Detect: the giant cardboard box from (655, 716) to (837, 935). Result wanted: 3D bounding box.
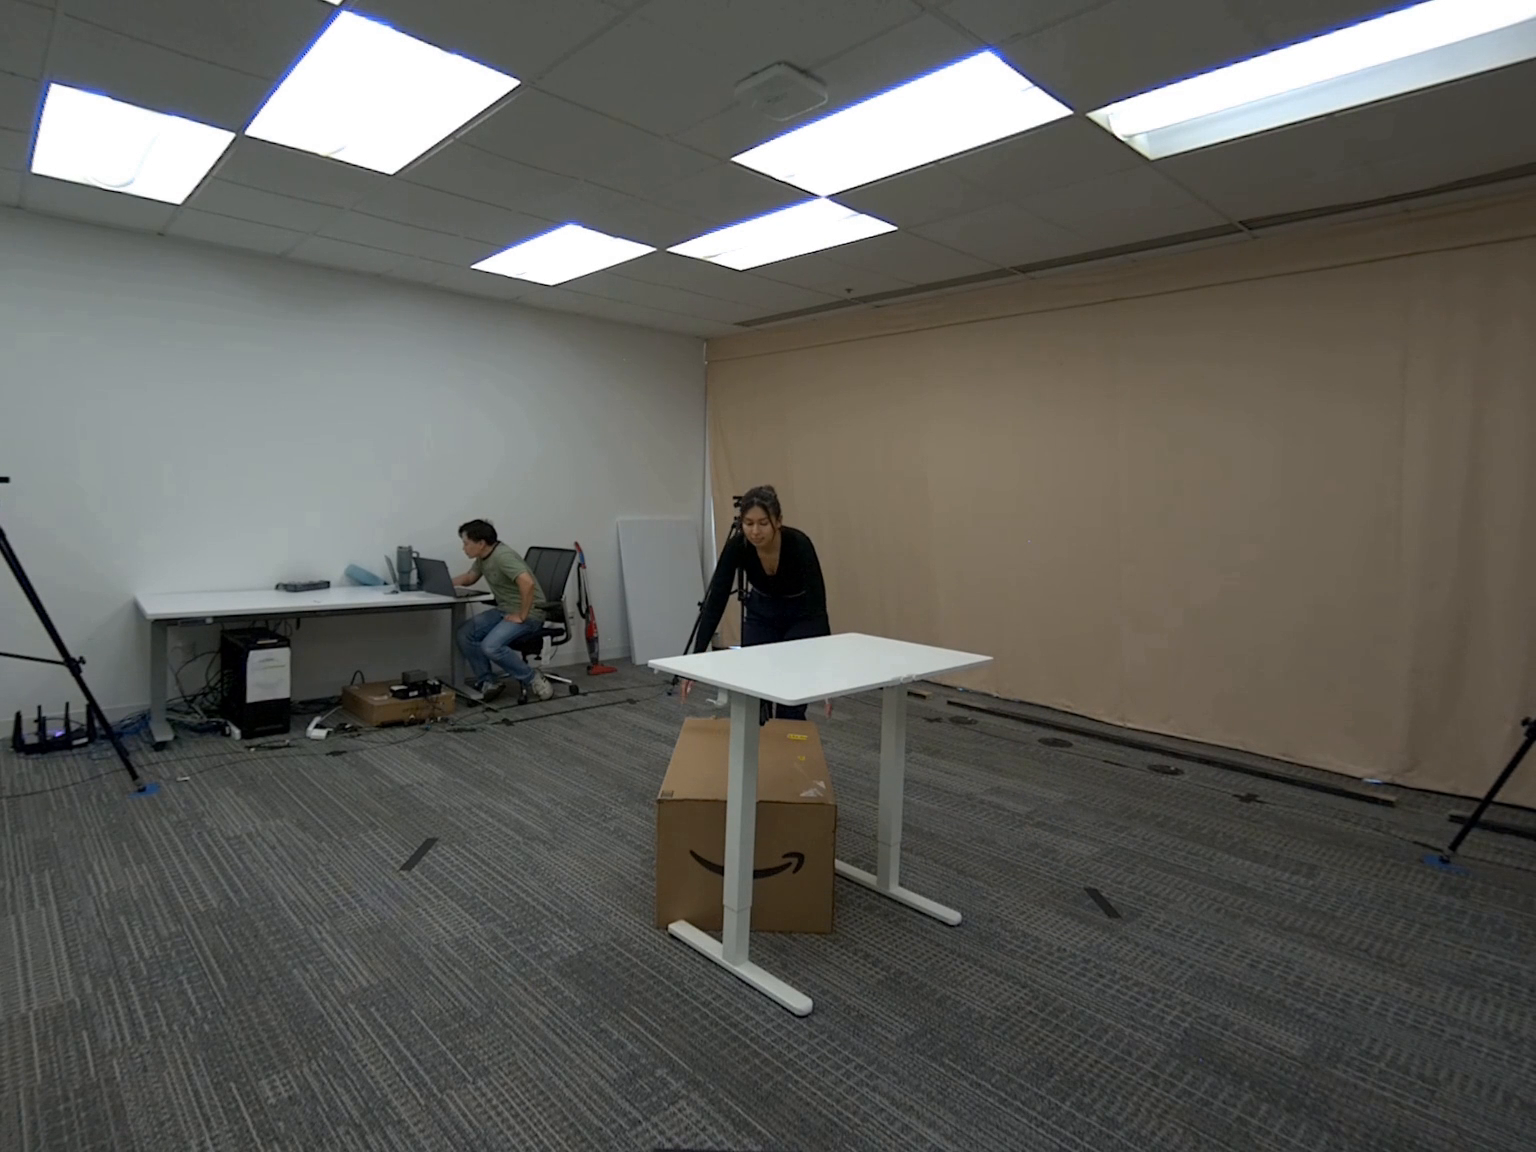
[{"bbox_3d":[-0.089,0.880,3.195,0.578,0.425,1.028,2,5,-1],"label":"giant cardboard box"}]
